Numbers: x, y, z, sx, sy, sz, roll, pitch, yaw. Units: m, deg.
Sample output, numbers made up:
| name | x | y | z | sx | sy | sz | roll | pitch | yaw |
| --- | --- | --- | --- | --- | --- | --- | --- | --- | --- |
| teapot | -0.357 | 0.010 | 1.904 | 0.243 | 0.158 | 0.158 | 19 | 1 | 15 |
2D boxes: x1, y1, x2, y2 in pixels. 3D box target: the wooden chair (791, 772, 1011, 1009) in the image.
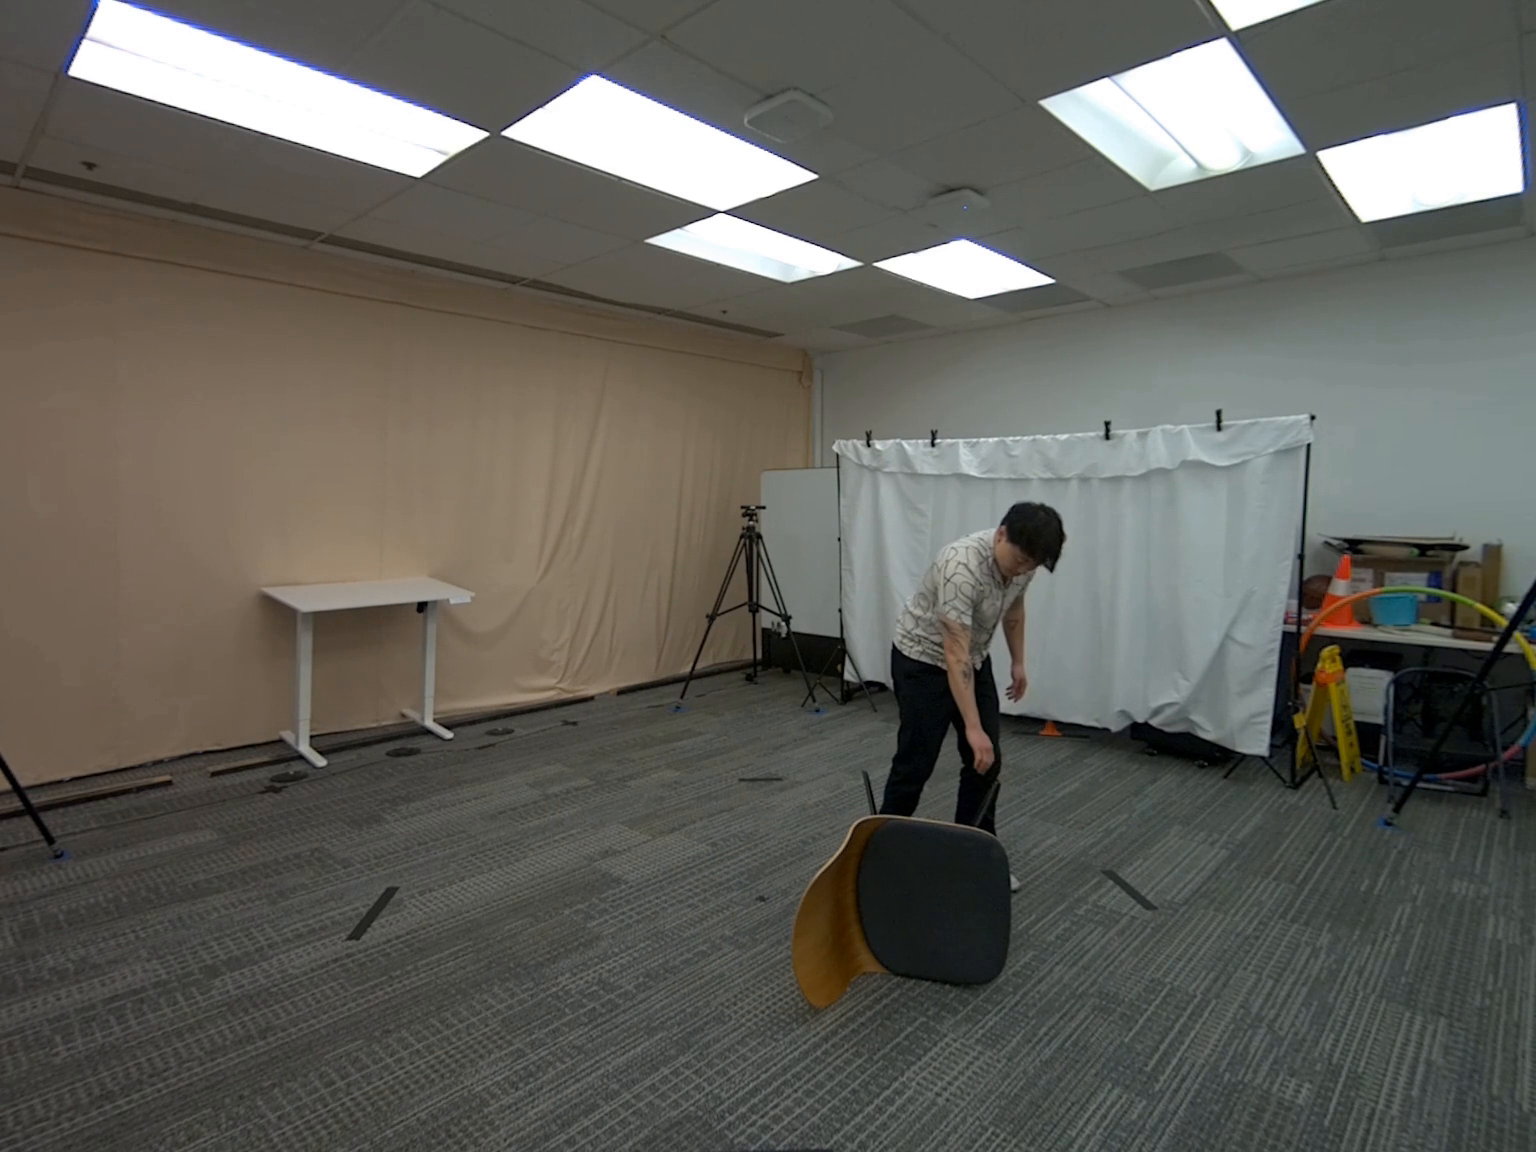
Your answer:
| name | x | y | z | sx | sy | sz | roll | pitch | yaw |
| --- | --- | --- | --- | --- | --- | --- | --- | --- | --- |
| wooden chair | 0.459 | 0.954 | 2.516 | 0.535 | 0.477 | 0.859 | 2 | 3 | 21 |
